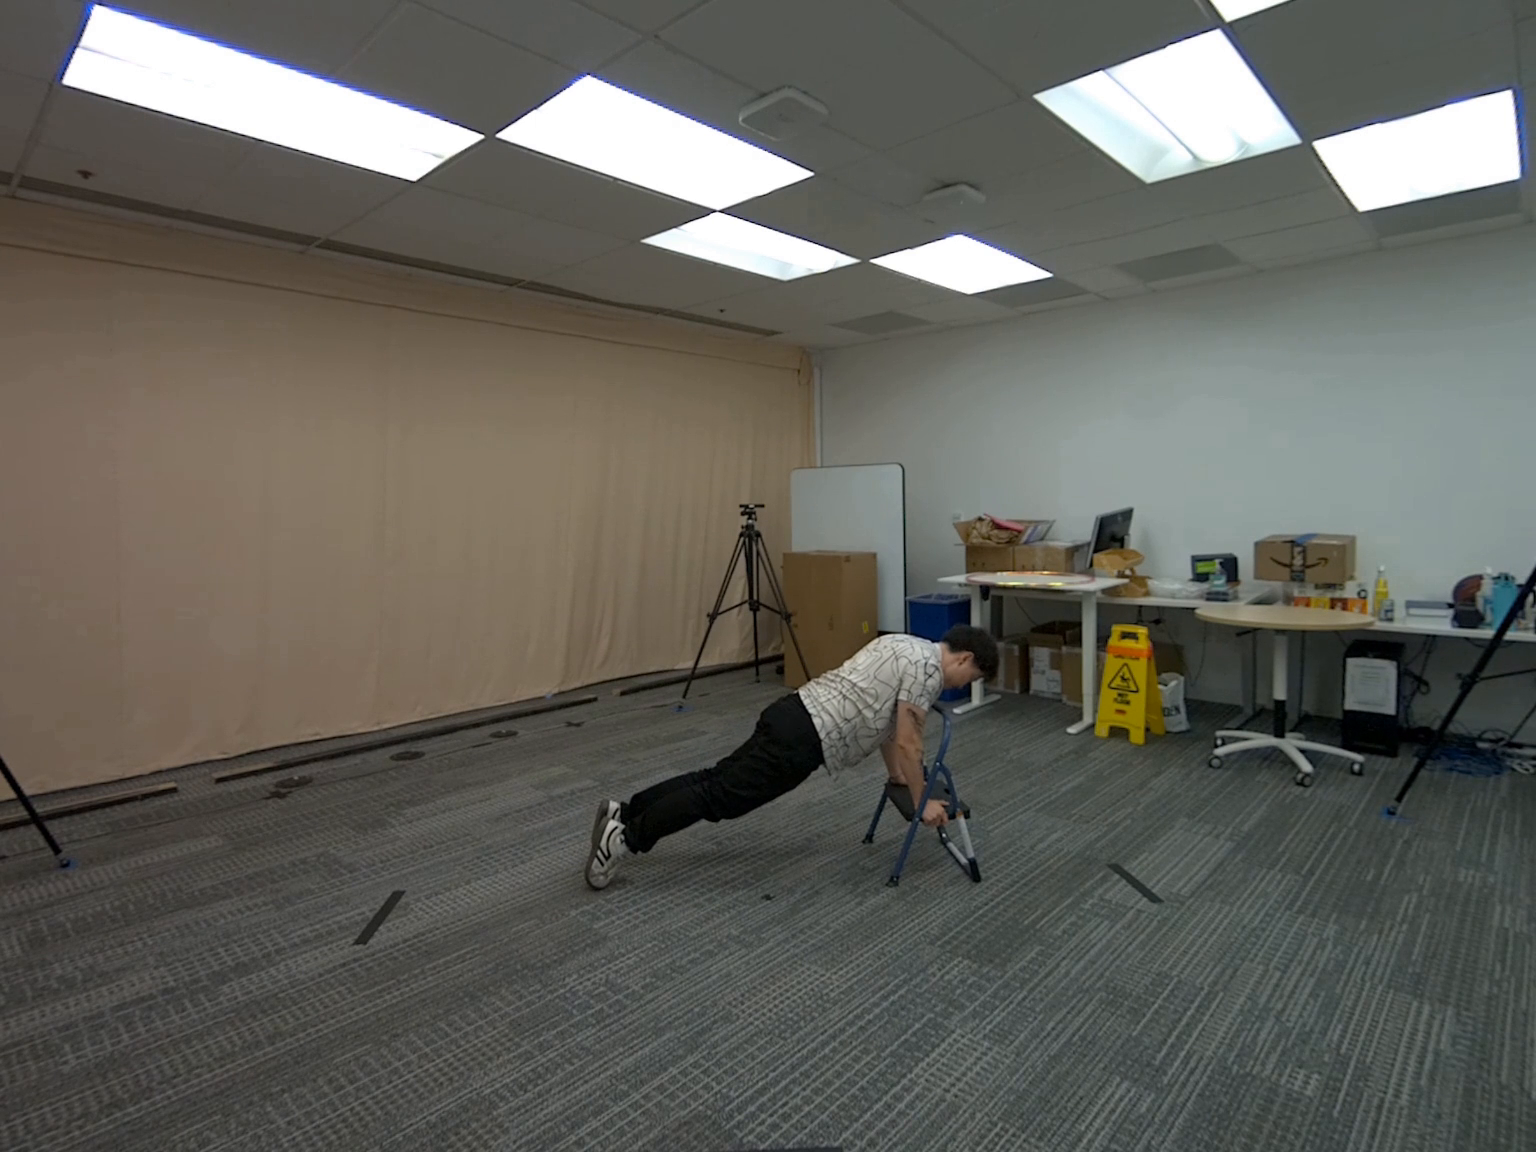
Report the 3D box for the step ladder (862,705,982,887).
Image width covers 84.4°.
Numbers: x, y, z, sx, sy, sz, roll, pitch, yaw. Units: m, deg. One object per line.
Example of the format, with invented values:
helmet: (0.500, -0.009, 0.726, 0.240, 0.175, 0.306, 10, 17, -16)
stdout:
step ladder: (0.586, 0.809, 3.248, 0.348, 0.604, 0.434, -2, 4, -5)
